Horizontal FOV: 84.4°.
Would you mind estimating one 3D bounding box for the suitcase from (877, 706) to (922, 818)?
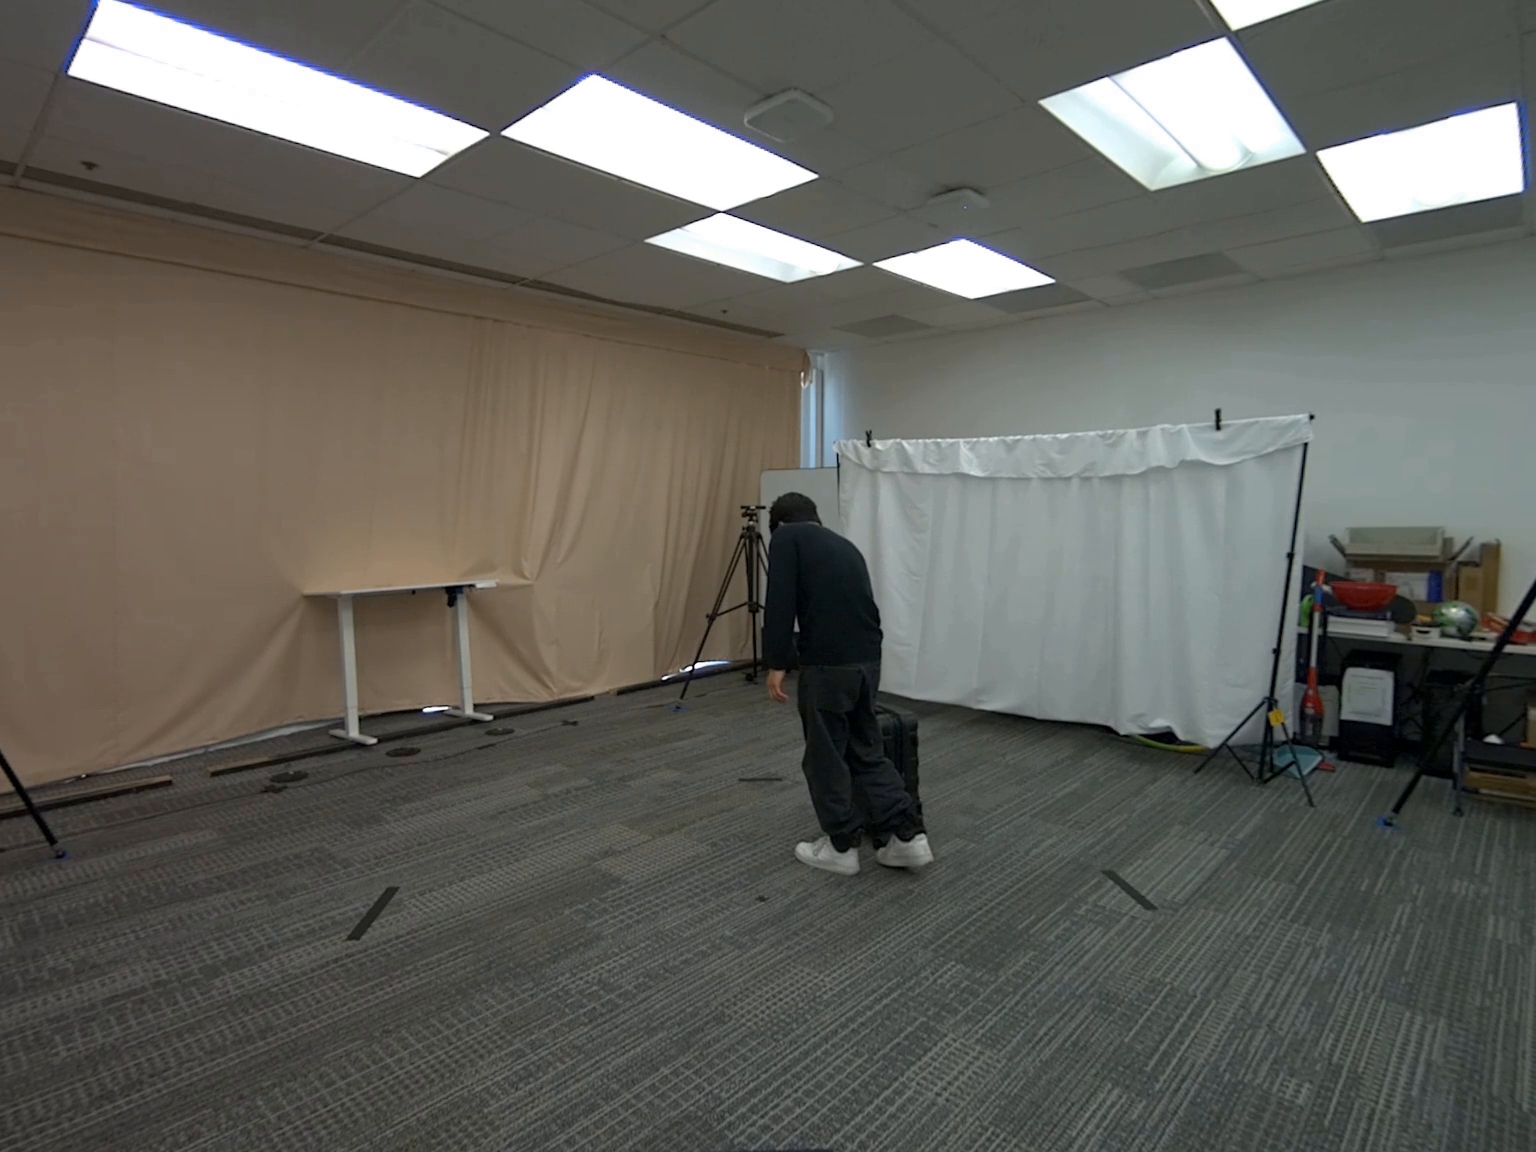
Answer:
[{"bbox_3d":[0.452,0.814,3.602,0.241,0.548,0.386,-2,3,-31],"label":"suitcase"}]
